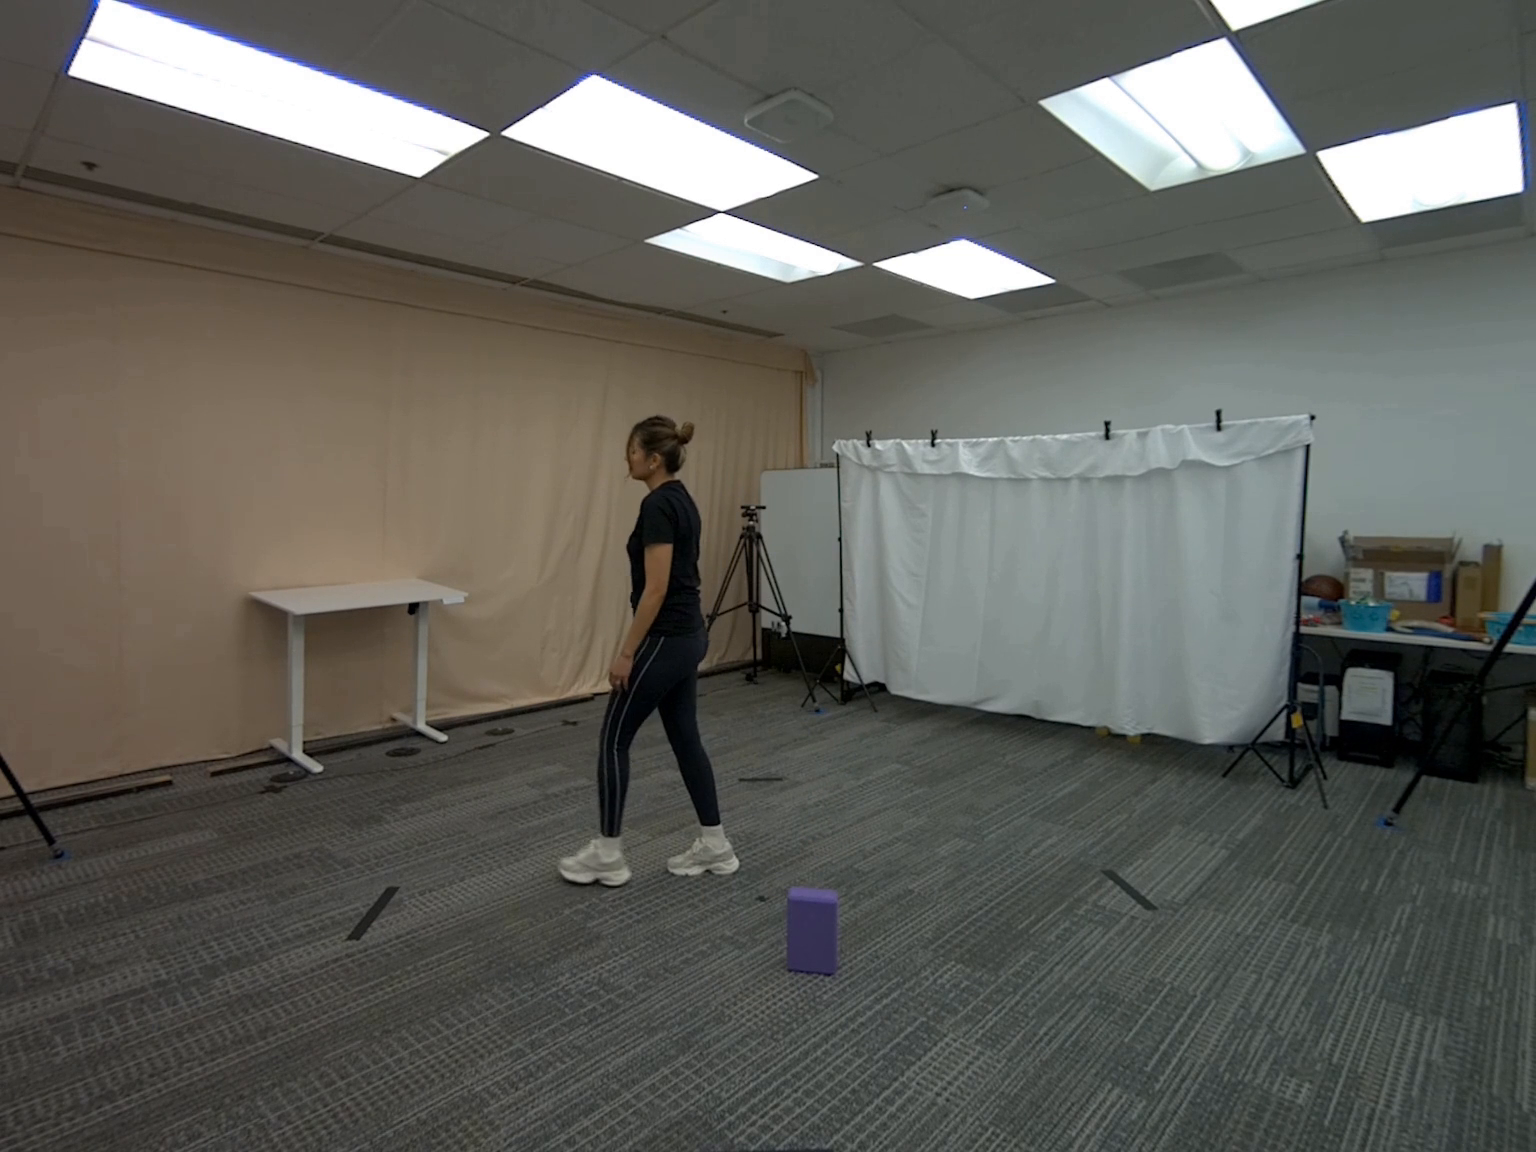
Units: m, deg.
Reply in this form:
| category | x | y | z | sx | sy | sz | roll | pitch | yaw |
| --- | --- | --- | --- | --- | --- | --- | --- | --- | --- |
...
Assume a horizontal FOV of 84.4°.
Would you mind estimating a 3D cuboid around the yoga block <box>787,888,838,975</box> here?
| category | x | y | z | sx | sy | sz | roll | pitch | yaw |
| --- | --- | --- | --- | --- | --- | --- | --- | --- | --- |
| yoga block | 0.139 | 1.069 | 2.527 | 0.150 | 0.229 | 0.076 | 2 | 2 | 9 |
